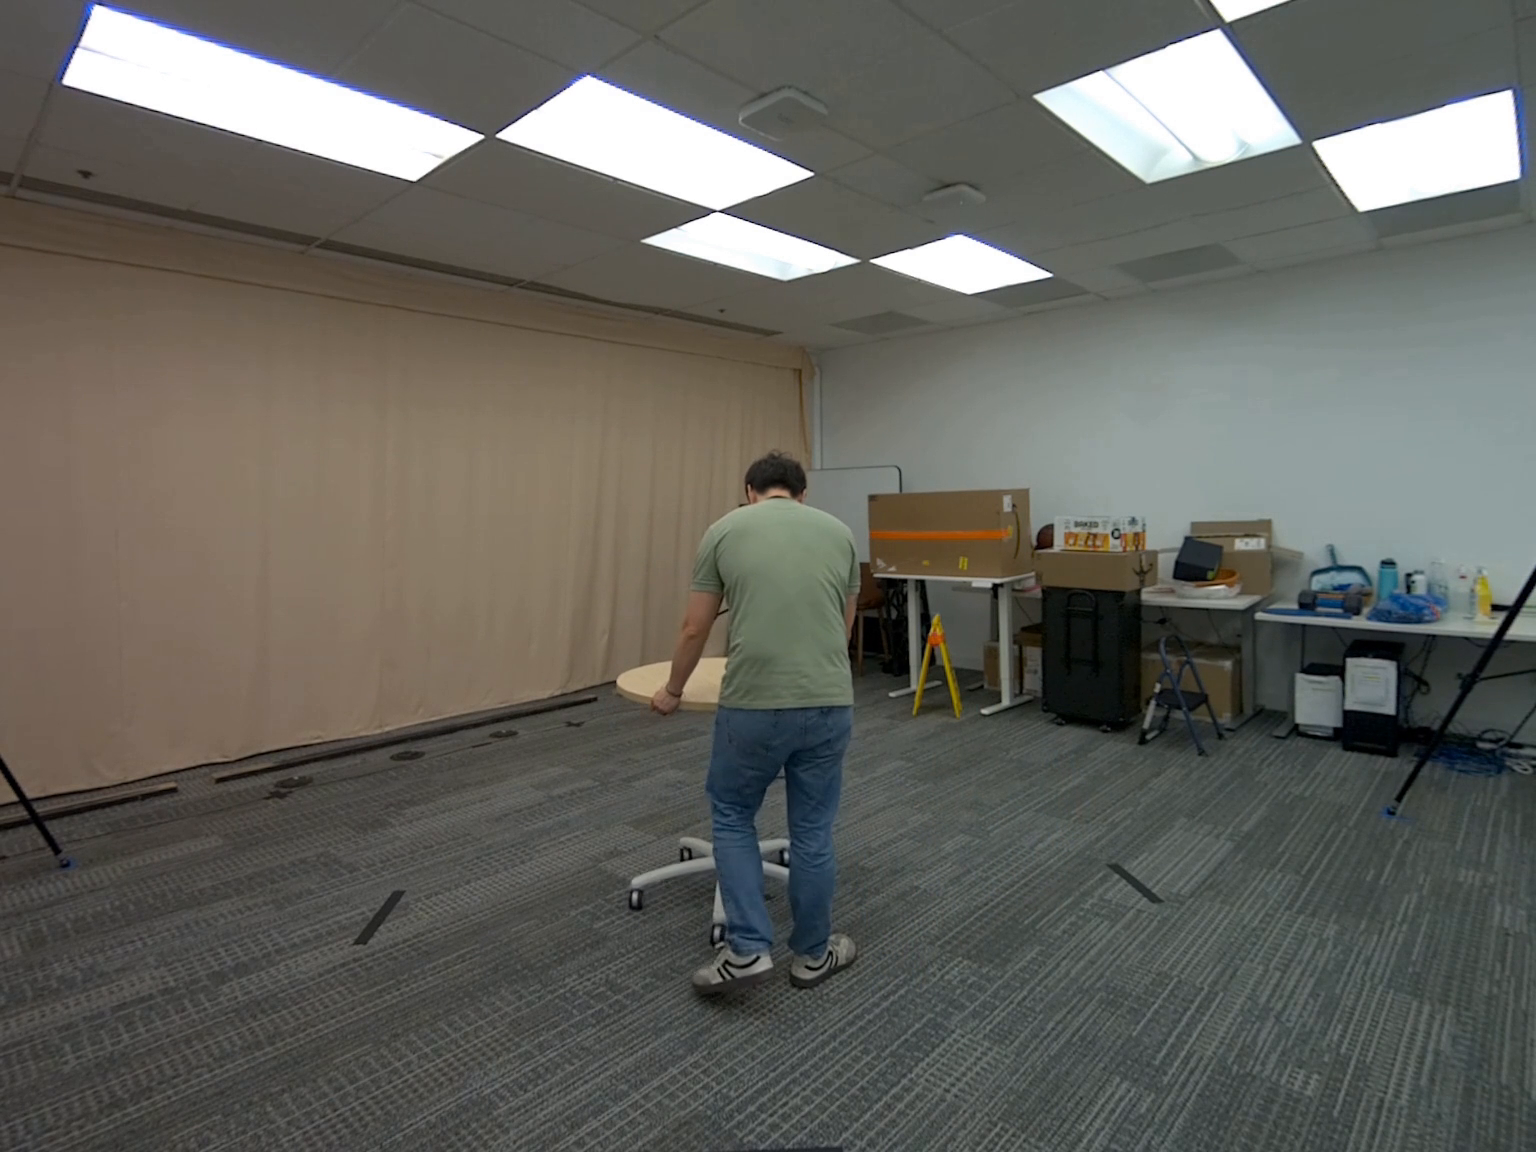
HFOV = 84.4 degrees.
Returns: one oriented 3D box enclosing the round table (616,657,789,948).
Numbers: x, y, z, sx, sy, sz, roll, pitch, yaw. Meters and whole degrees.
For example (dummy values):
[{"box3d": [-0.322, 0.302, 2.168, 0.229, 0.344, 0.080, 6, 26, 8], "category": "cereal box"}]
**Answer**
[{"box3d": [-0.148, 0.751, 2.996, 0.763, 0.792, 0.766, -1, 4, -2], "category": "round table"}]
